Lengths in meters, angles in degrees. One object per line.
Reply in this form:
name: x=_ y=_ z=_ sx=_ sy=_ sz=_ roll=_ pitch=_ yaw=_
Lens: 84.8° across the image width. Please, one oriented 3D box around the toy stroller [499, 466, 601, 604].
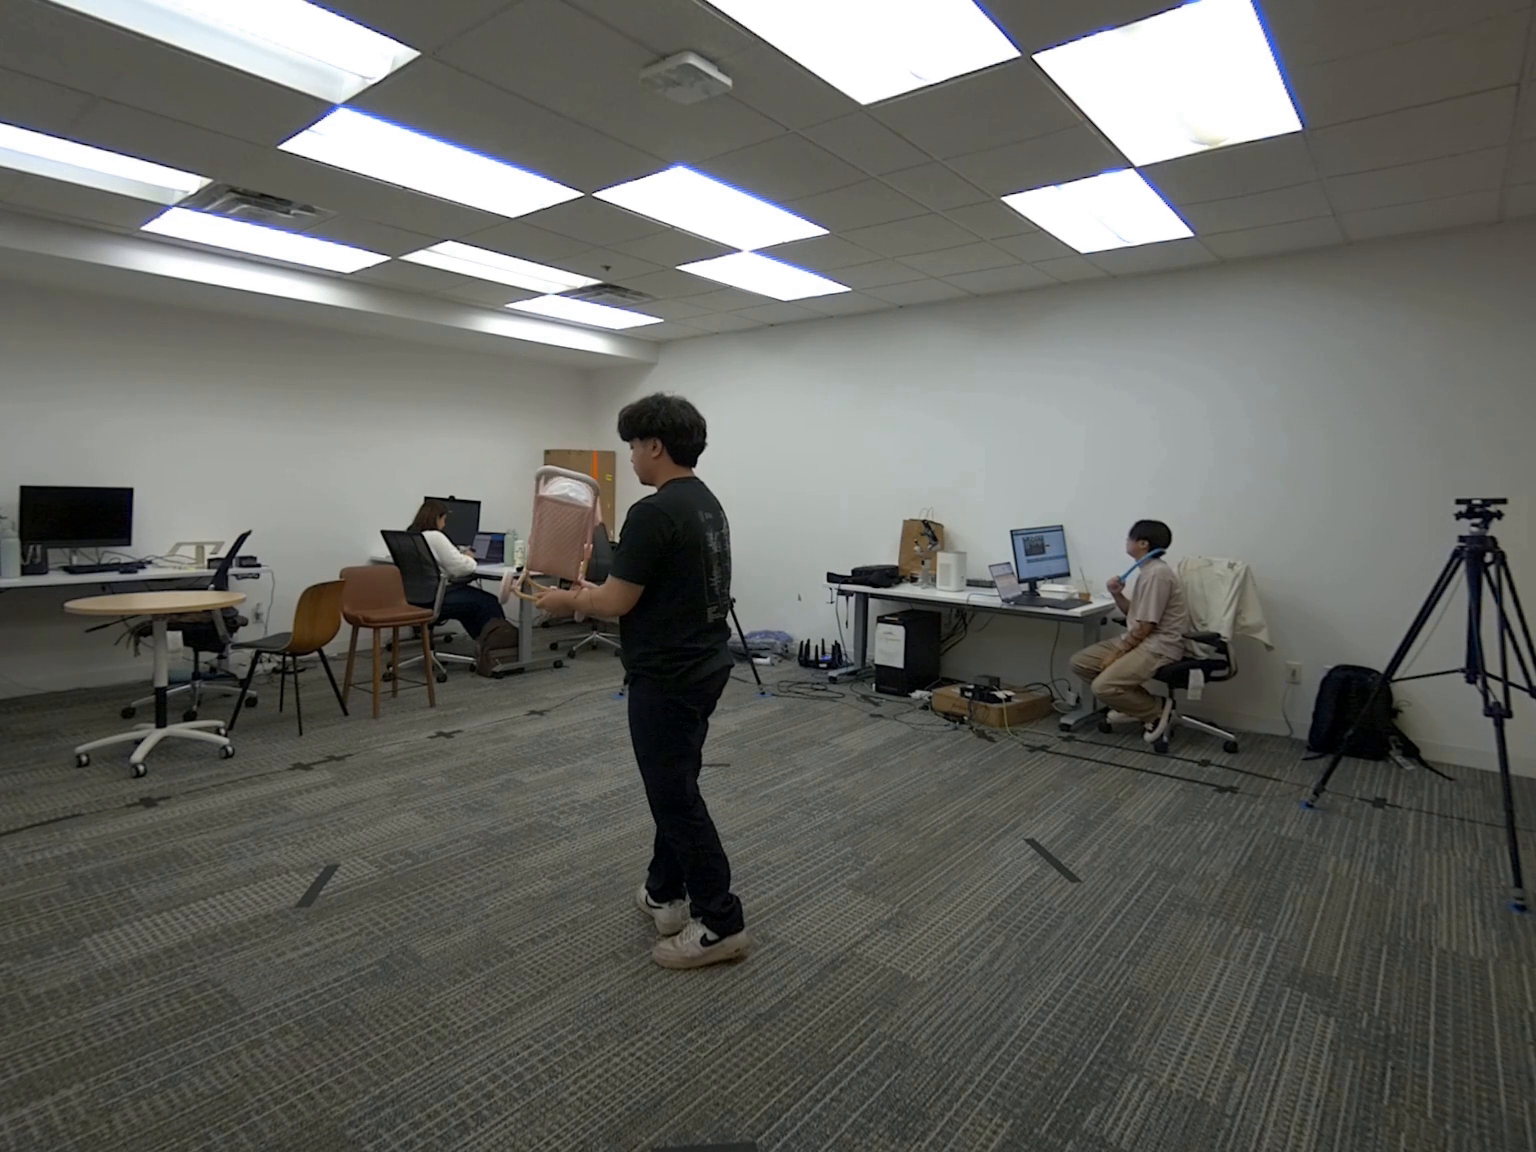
toy stroller: x=-0.699 y=-0.102 z=2.829 sx=0.281 sy=0.532 sz=0.344 roll=13 pitch=7 yaw=-2
